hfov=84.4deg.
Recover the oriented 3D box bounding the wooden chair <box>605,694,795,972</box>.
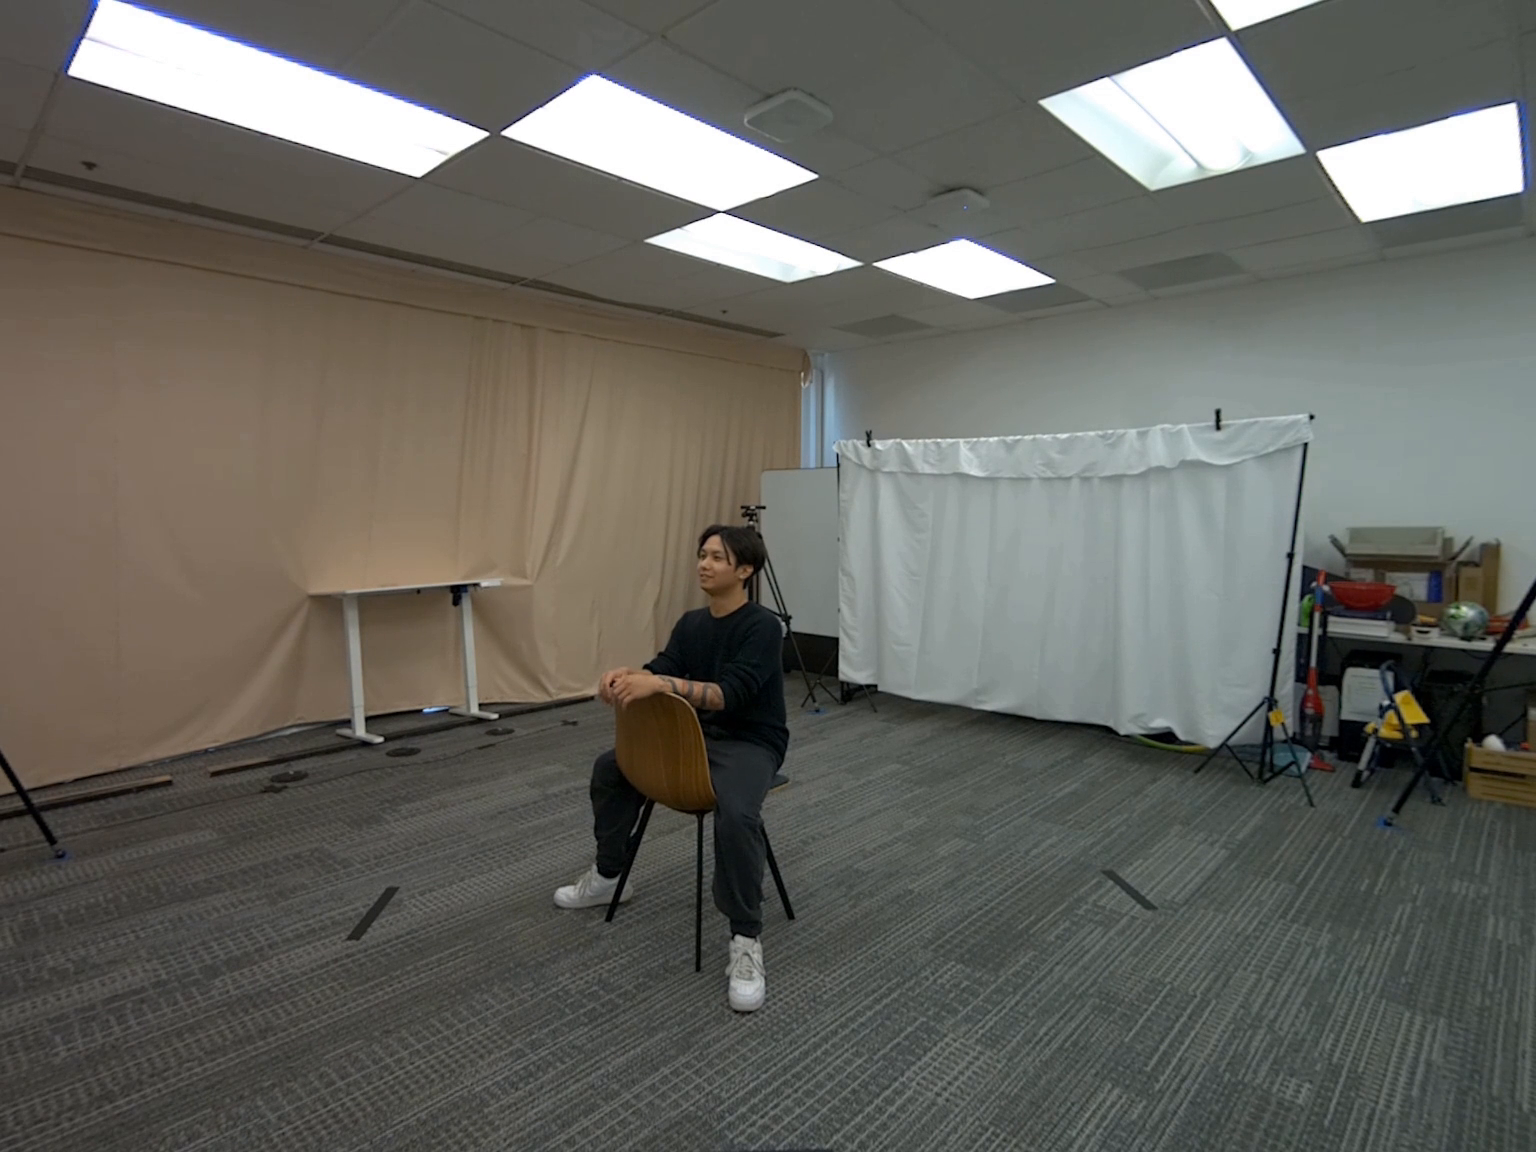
[{"bbox_3d":[-0.219,0.724,2.817,0.494,0.874,0.508,3,8,44],"label":"wooden chair"}]
